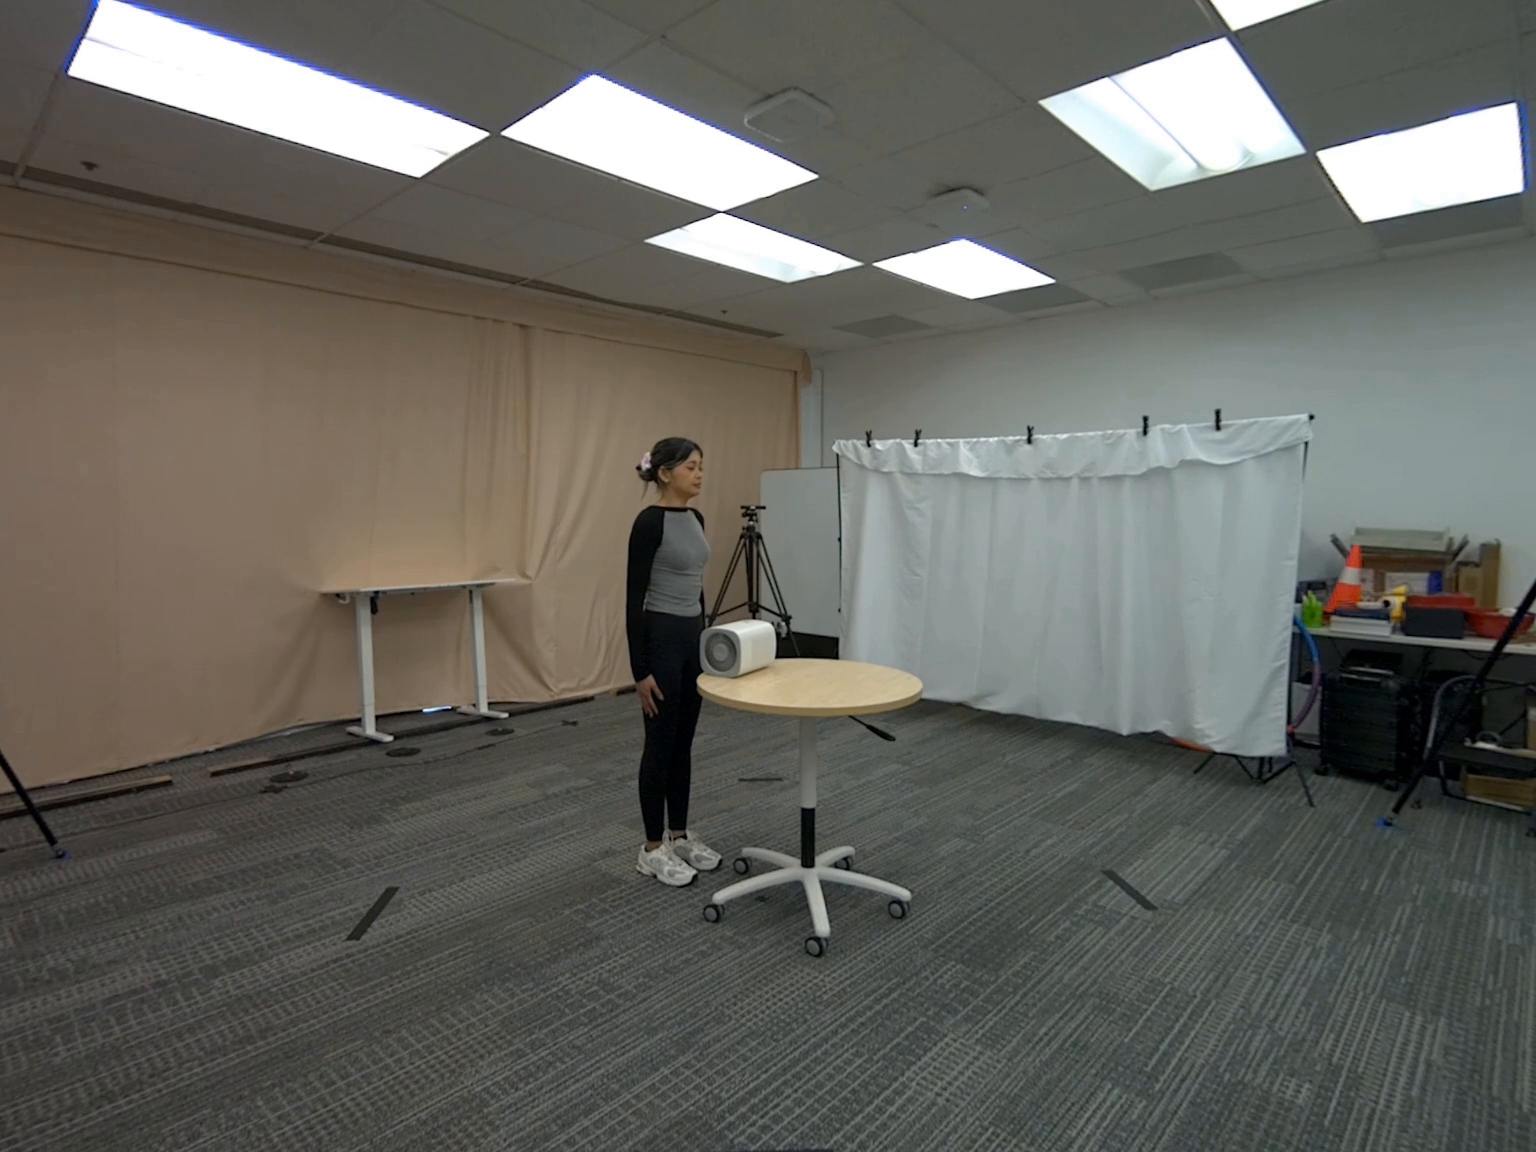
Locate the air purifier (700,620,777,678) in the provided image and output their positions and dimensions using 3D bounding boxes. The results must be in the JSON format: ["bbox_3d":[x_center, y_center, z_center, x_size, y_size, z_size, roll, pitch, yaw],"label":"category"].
[{"bbox_3d":[-0.097,0.256,3.043,0.176,0.171,0.258,1,4,31],"label":"air purifier"}]
